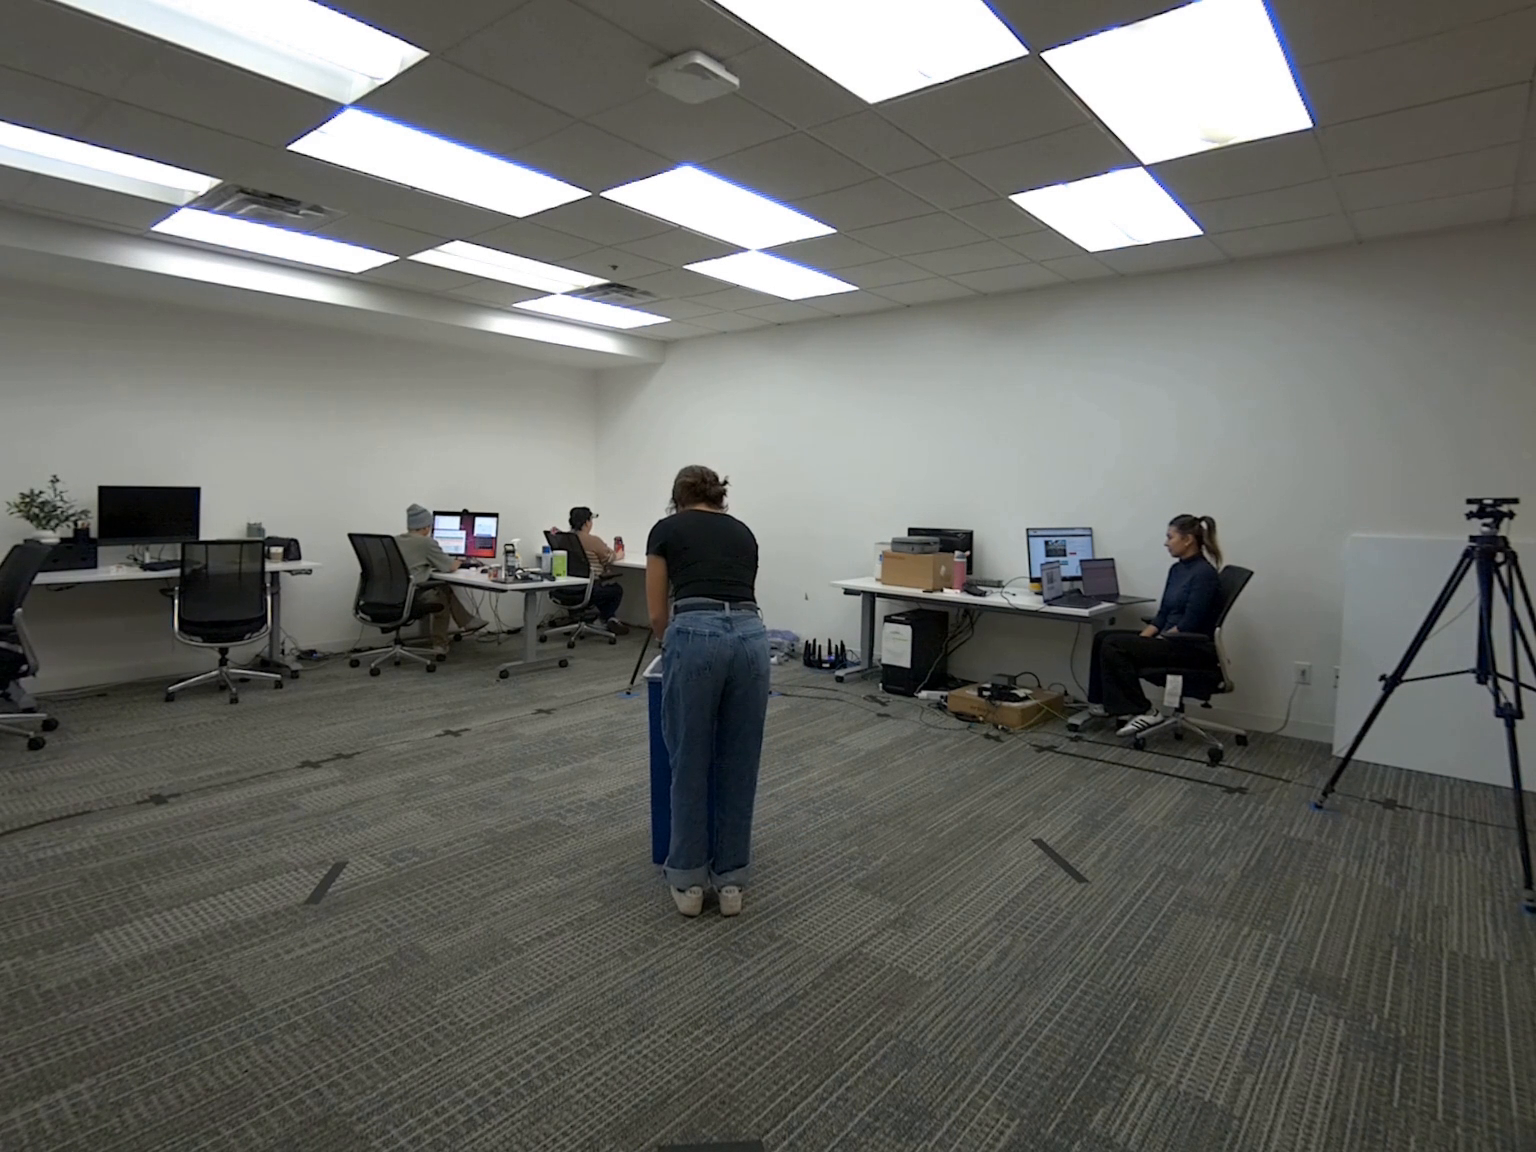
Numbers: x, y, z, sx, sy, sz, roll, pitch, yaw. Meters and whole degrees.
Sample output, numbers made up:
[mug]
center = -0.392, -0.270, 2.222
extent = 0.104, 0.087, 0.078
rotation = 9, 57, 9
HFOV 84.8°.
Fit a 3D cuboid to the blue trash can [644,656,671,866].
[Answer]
[blue trash can]
center = -0.285, 0.685, 3.246
extent = 0.376, 0.711, 0.378
rotation = 2, 4, 3
